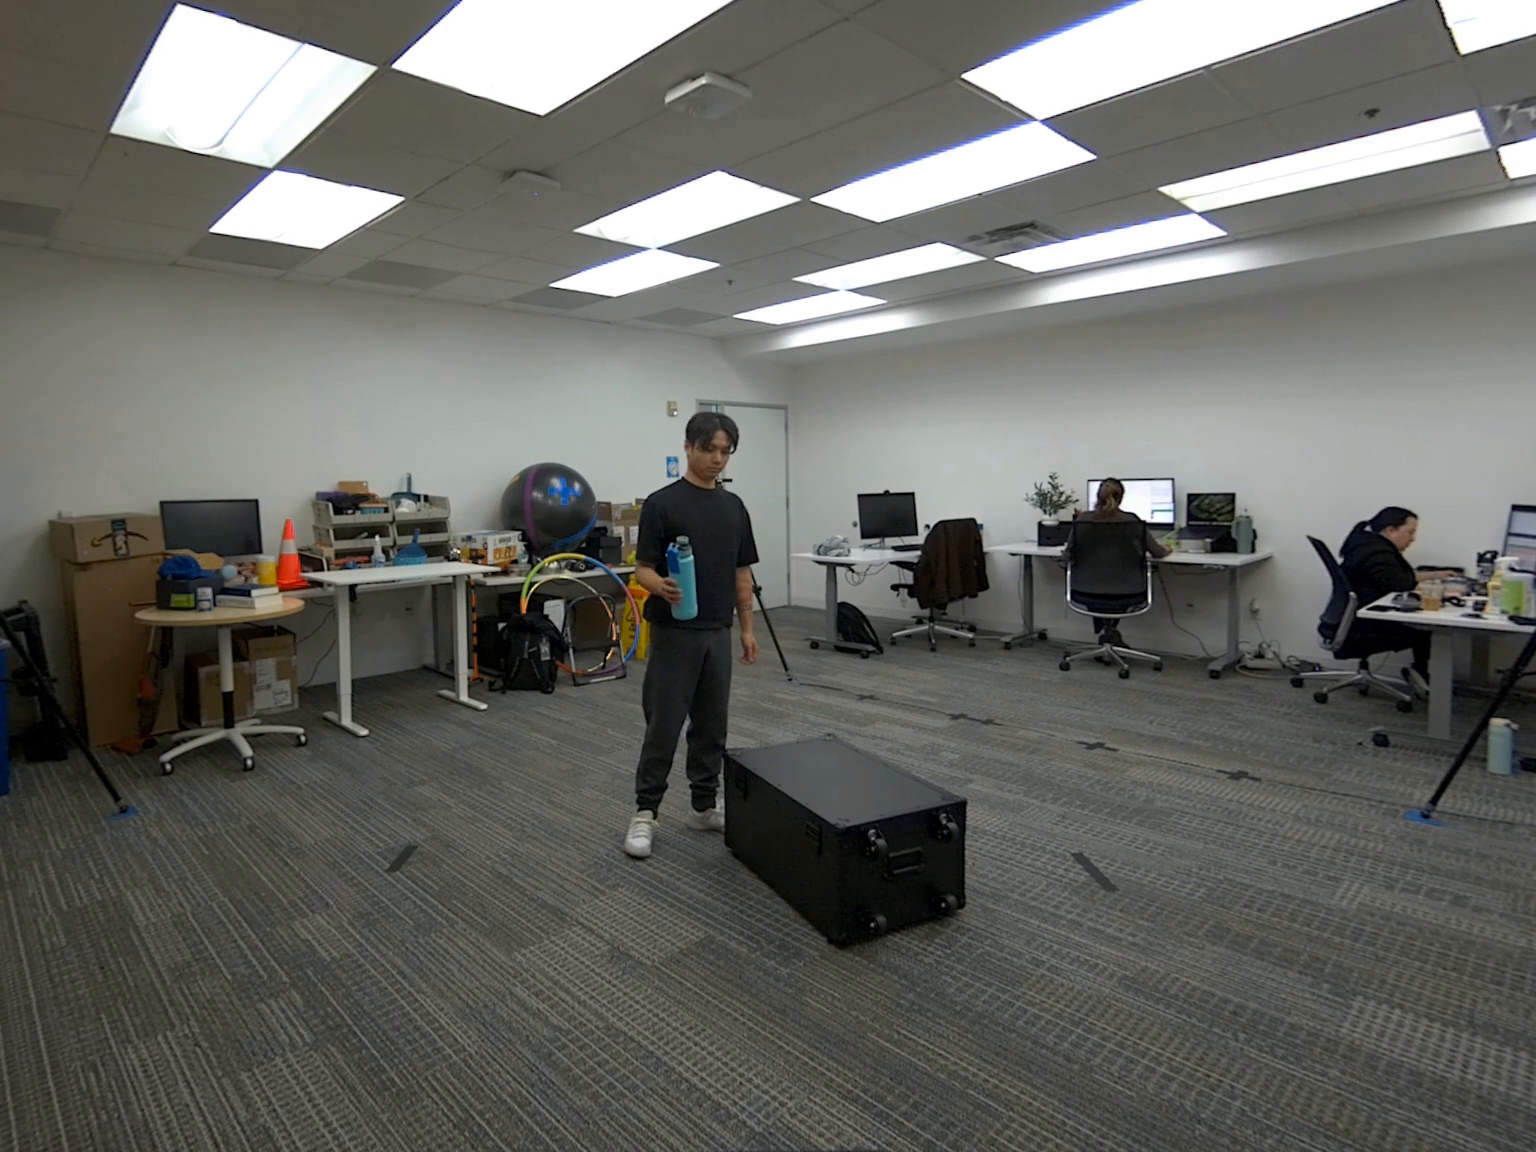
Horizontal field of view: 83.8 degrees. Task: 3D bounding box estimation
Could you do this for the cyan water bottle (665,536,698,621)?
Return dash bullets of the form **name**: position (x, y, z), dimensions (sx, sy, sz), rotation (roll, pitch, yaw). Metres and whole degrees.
- **cyan water bottle**: position (-0.306, 0.009, 2.971), dimensions (0.092, 0.278, 0.094), rotation (-3, 22, 0)
